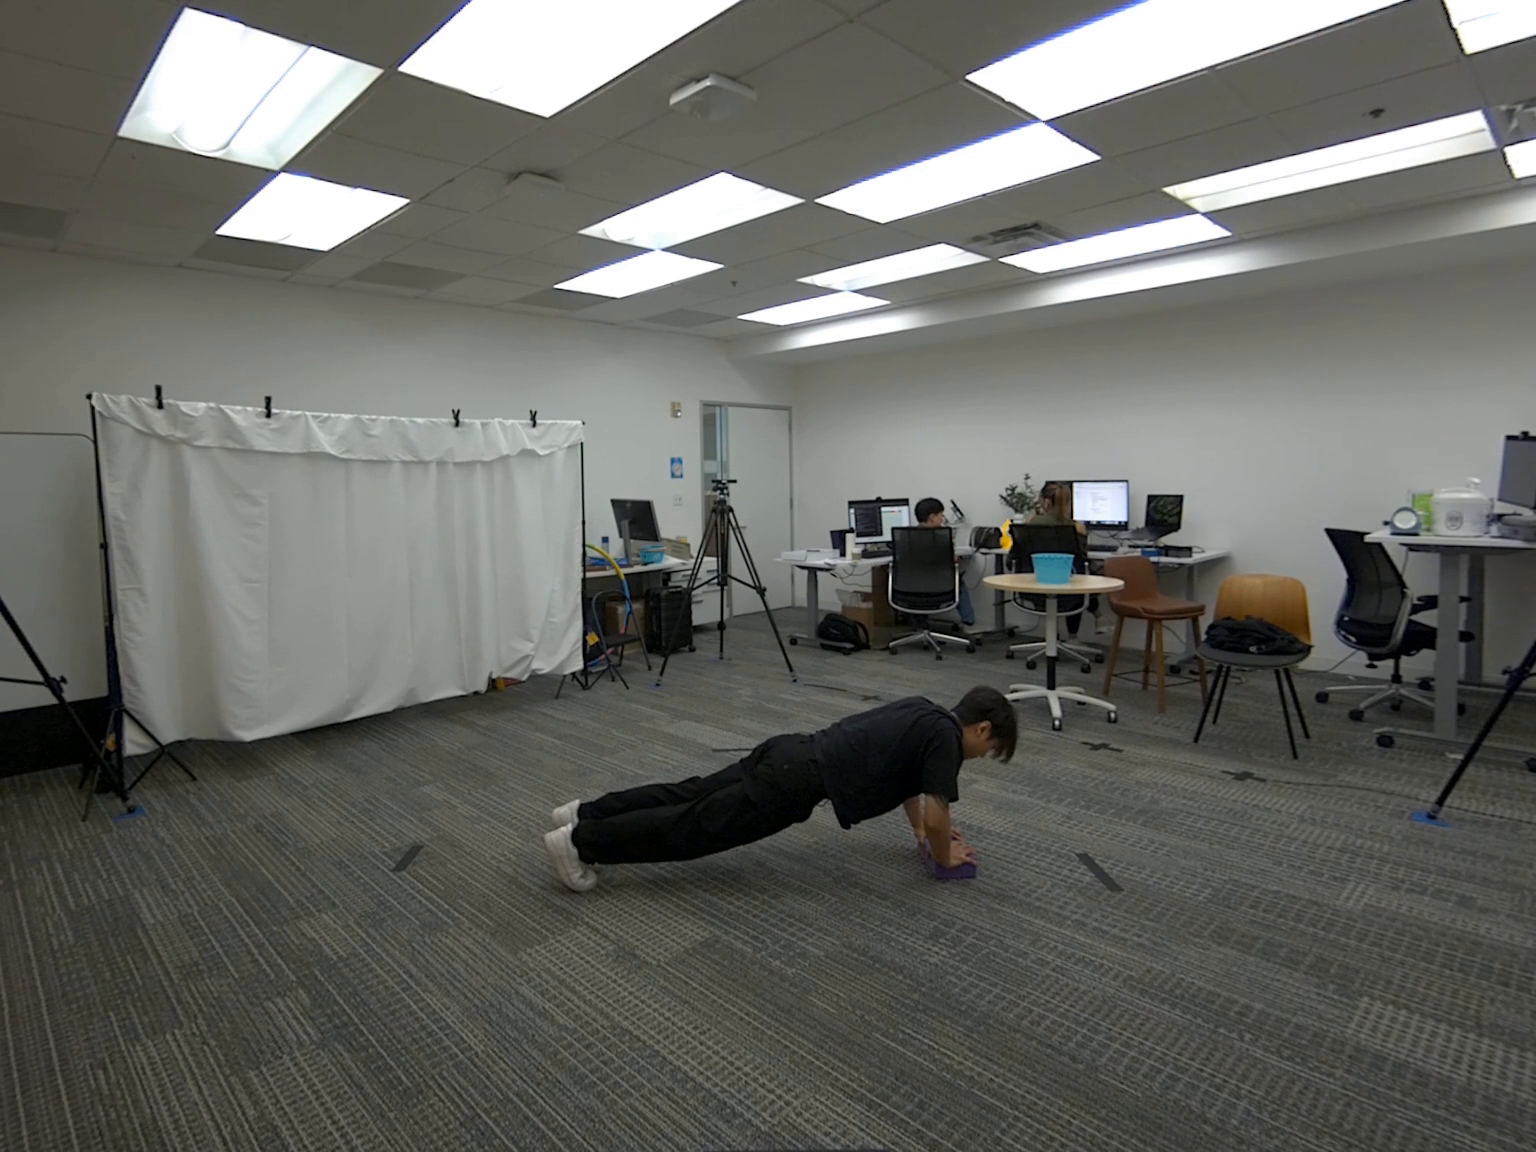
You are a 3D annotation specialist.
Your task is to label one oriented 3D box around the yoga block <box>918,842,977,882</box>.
[{"bbox_3d":[0.634,0.996,3.070,0.148,0.076,0.231,0,6,-6],"label":"yoga block"}]
